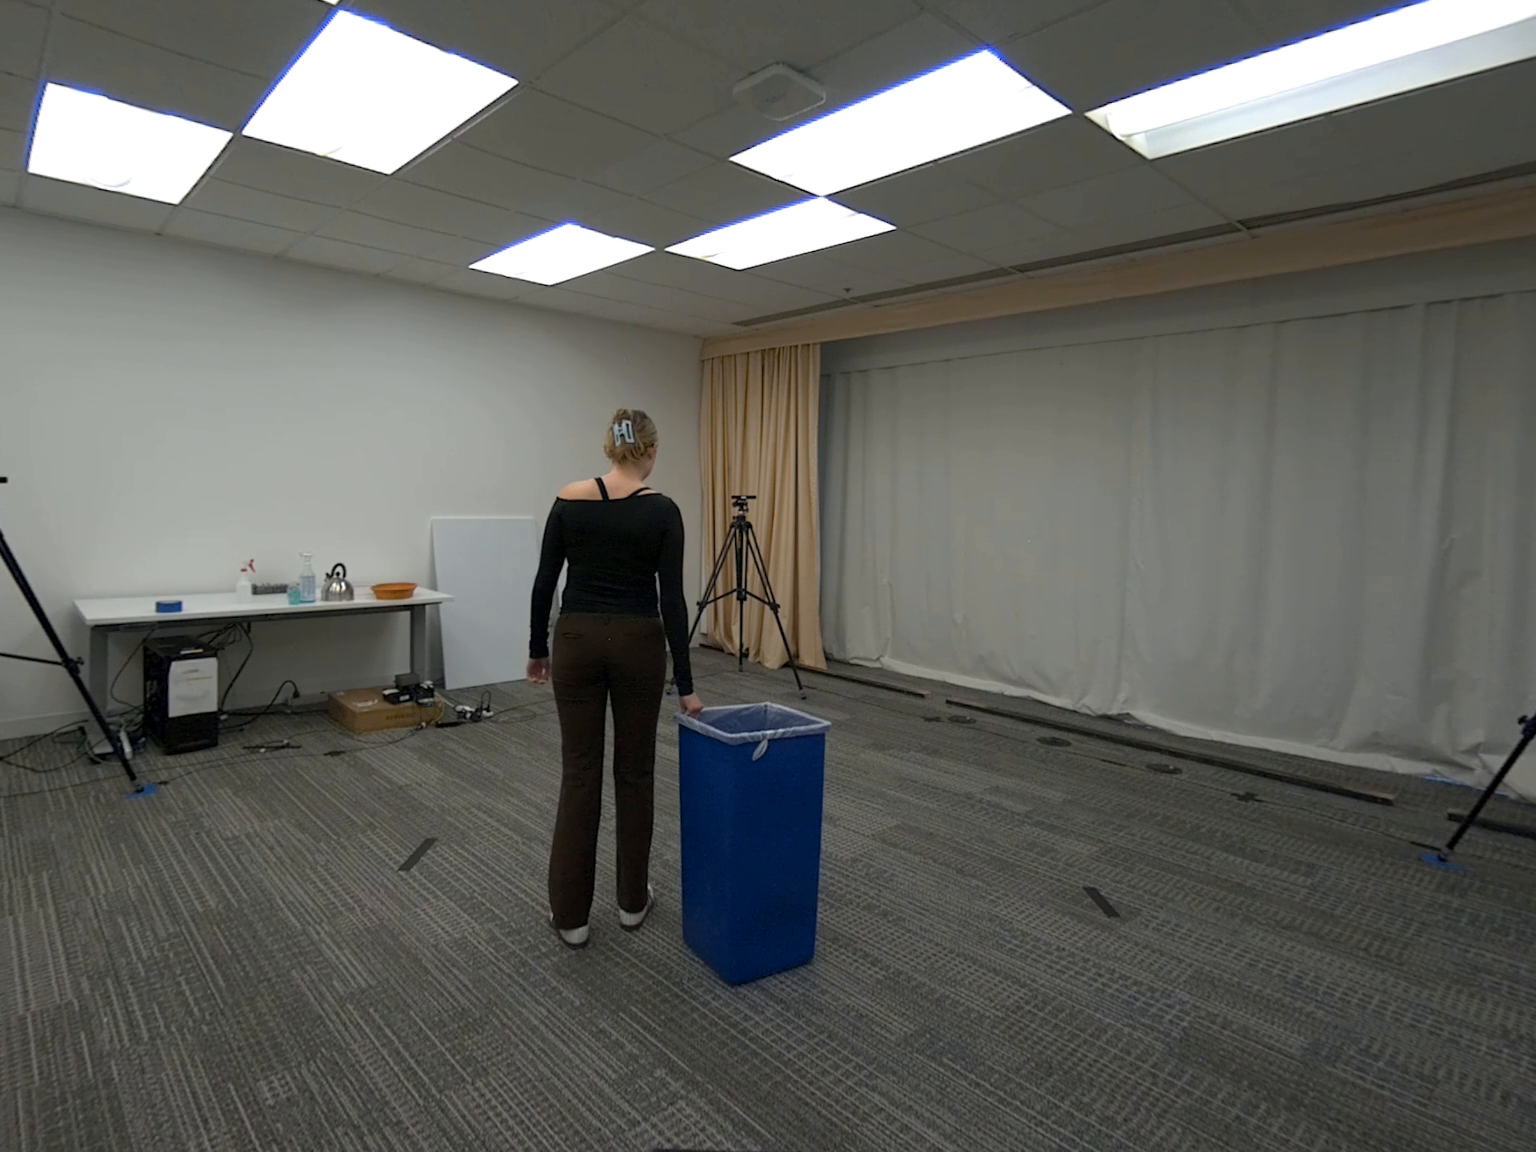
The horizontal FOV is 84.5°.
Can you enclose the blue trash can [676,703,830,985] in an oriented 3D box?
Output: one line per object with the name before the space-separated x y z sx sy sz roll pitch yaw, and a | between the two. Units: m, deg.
blue trash can | -0.075 0.788 2.577 0.370 0.713 0.382 1 2 -32
